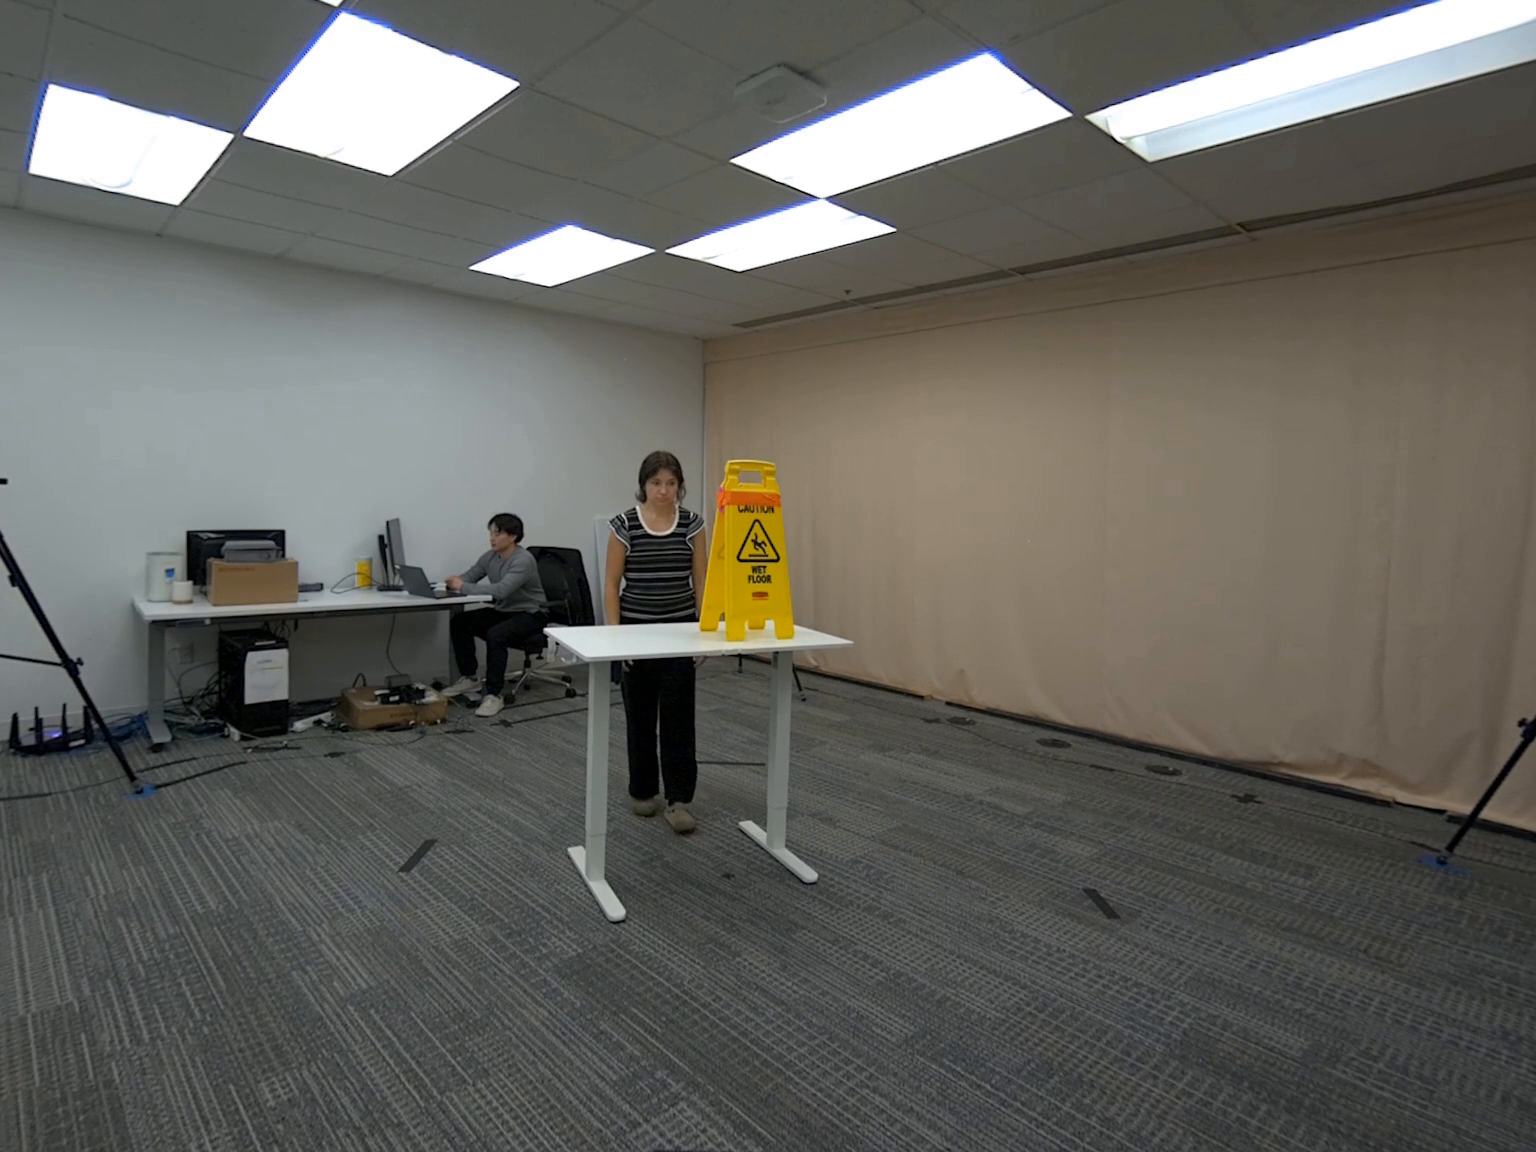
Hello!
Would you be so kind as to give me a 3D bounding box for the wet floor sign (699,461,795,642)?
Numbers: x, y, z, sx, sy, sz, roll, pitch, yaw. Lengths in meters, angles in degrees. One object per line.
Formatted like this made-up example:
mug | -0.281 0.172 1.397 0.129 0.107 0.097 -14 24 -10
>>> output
wet floor sign | -0.079 -0.101 3.143 0.277 0.644 0.296 -1 4 -27
